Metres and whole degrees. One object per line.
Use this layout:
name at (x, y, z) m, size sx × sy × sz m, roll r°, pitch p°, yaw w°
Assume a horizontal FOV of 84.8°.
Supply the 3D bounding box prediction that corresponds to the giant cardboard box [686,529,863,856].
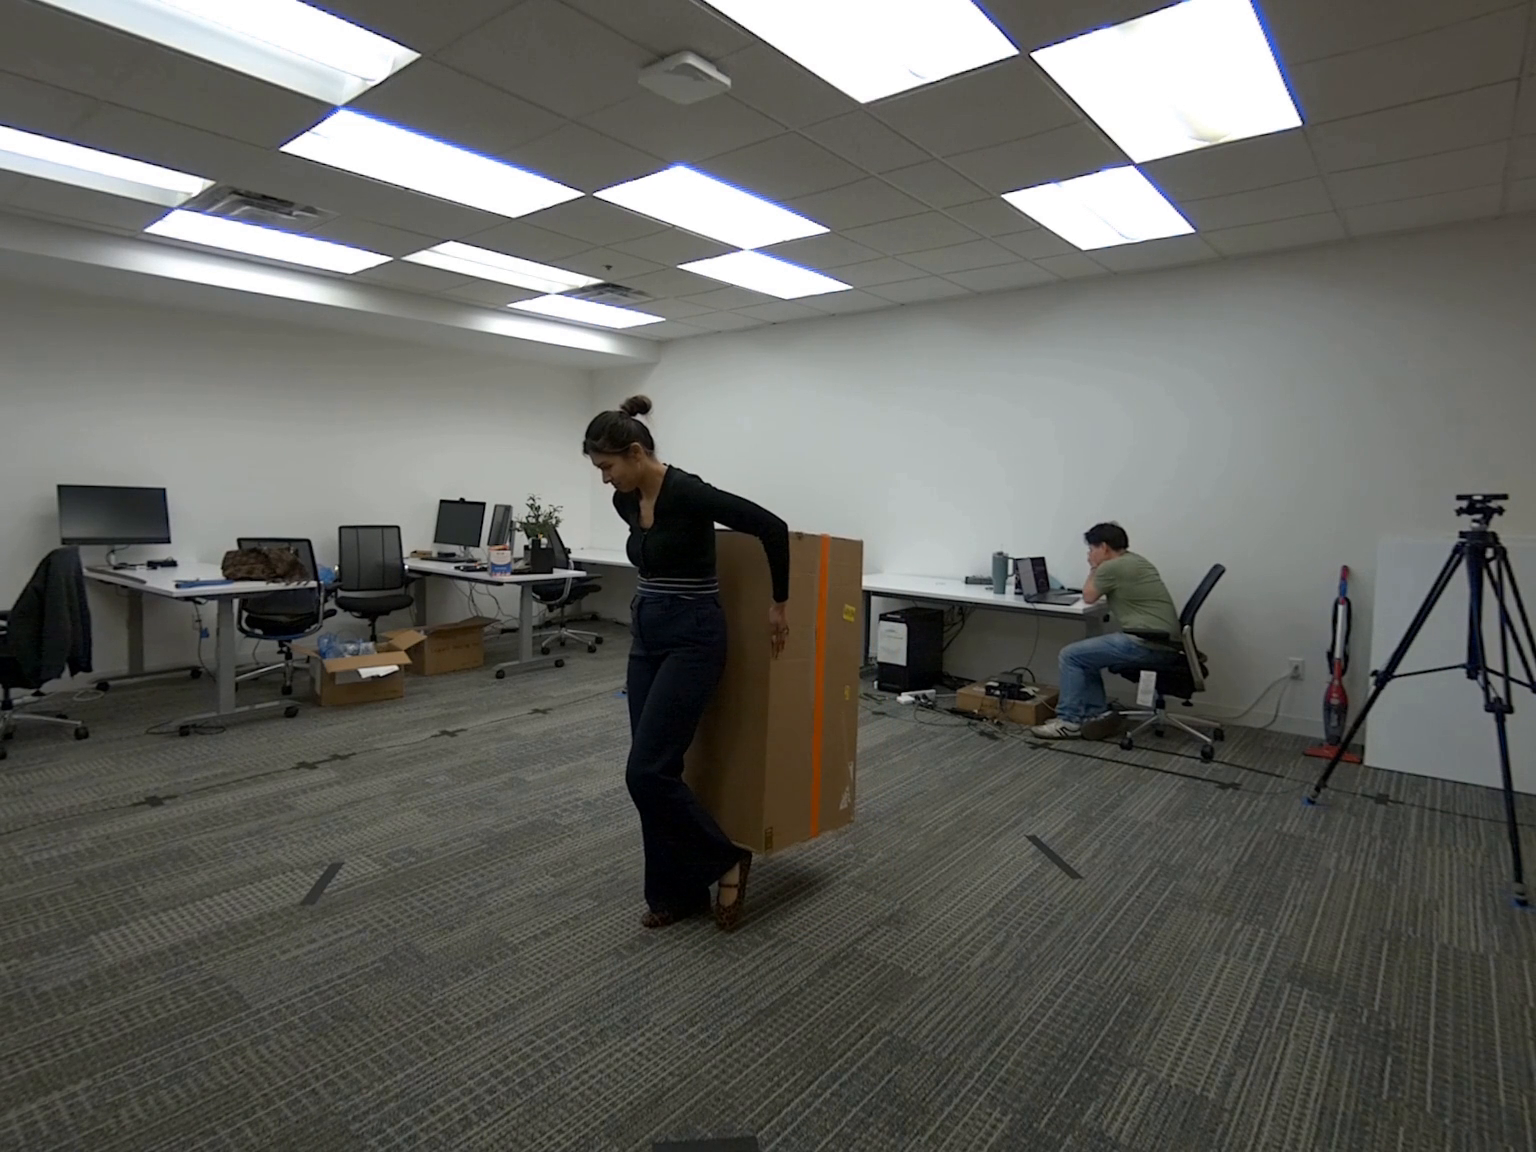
giant cardboard box at (-0.002, 0.367, 3.018) m, size 0.439 × 1.029 × 0.558 m, roll -1°, pitch -4°, yaw 37°
